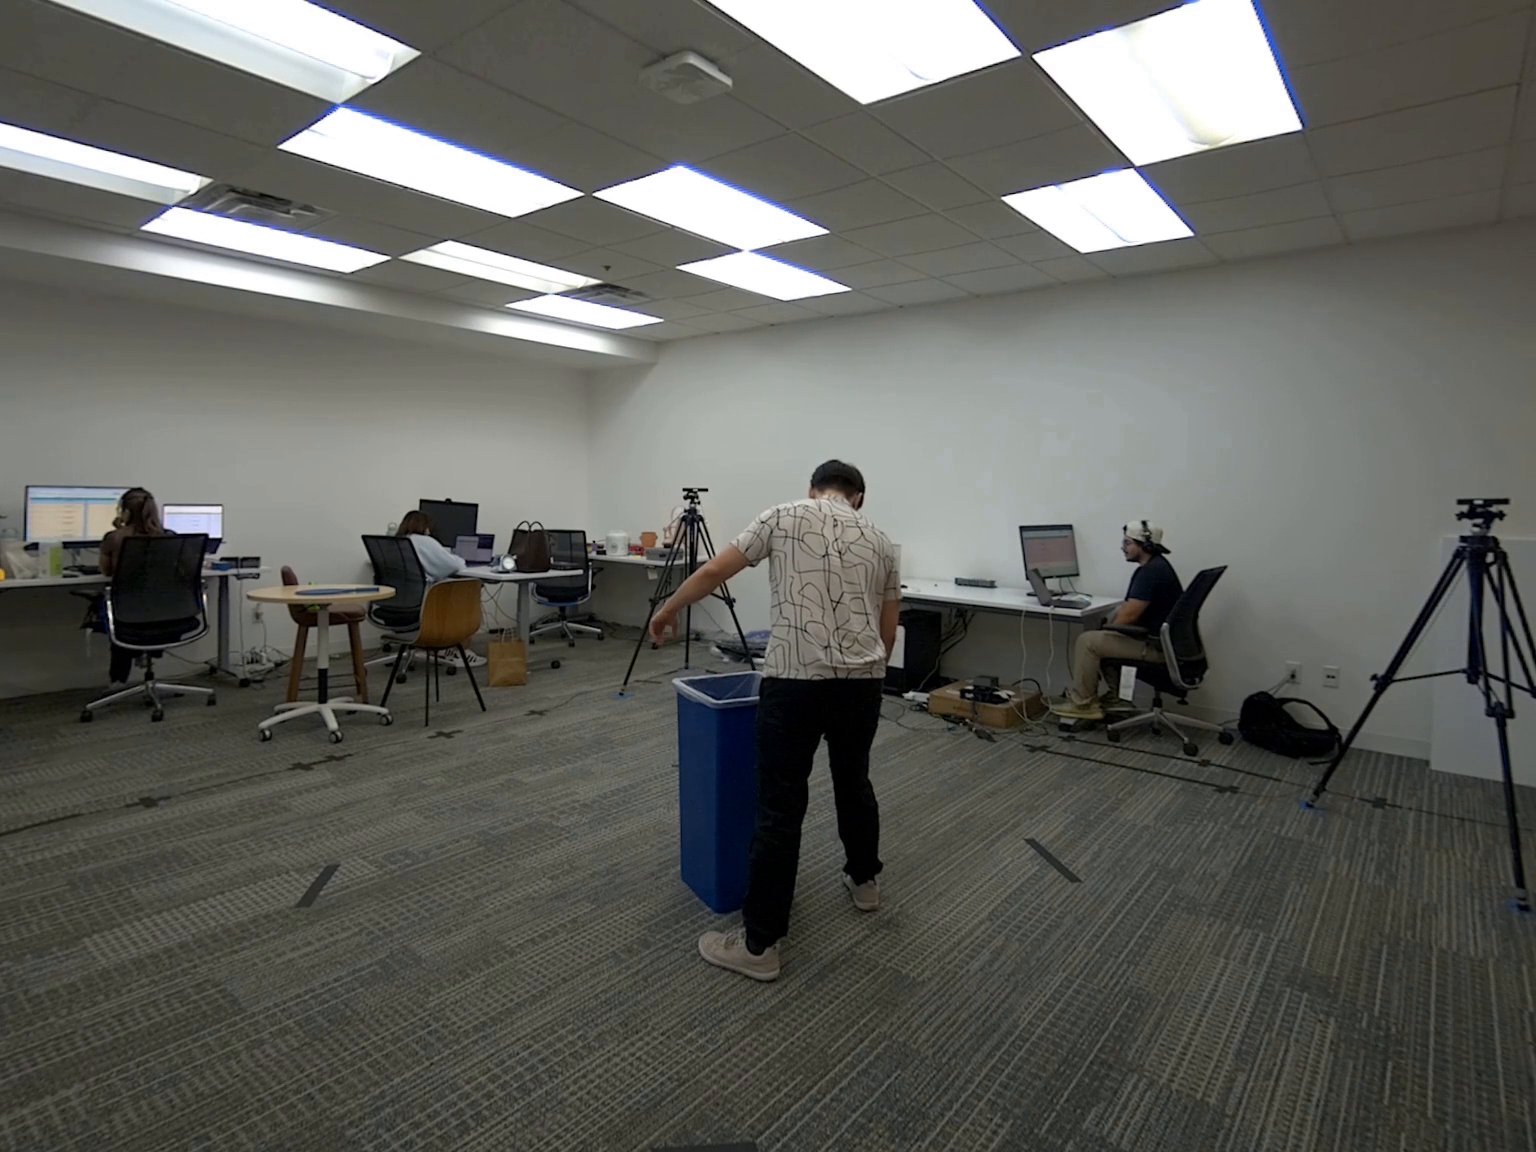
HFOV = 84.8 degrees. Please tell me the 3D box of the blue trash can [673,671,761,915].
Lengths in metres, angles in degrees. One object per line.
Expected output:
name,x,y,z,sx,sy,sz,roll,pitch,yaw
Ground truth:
blue trash can,-0.123,0.727,2.962,0.368,0.711,0.385,-1,4,-30
